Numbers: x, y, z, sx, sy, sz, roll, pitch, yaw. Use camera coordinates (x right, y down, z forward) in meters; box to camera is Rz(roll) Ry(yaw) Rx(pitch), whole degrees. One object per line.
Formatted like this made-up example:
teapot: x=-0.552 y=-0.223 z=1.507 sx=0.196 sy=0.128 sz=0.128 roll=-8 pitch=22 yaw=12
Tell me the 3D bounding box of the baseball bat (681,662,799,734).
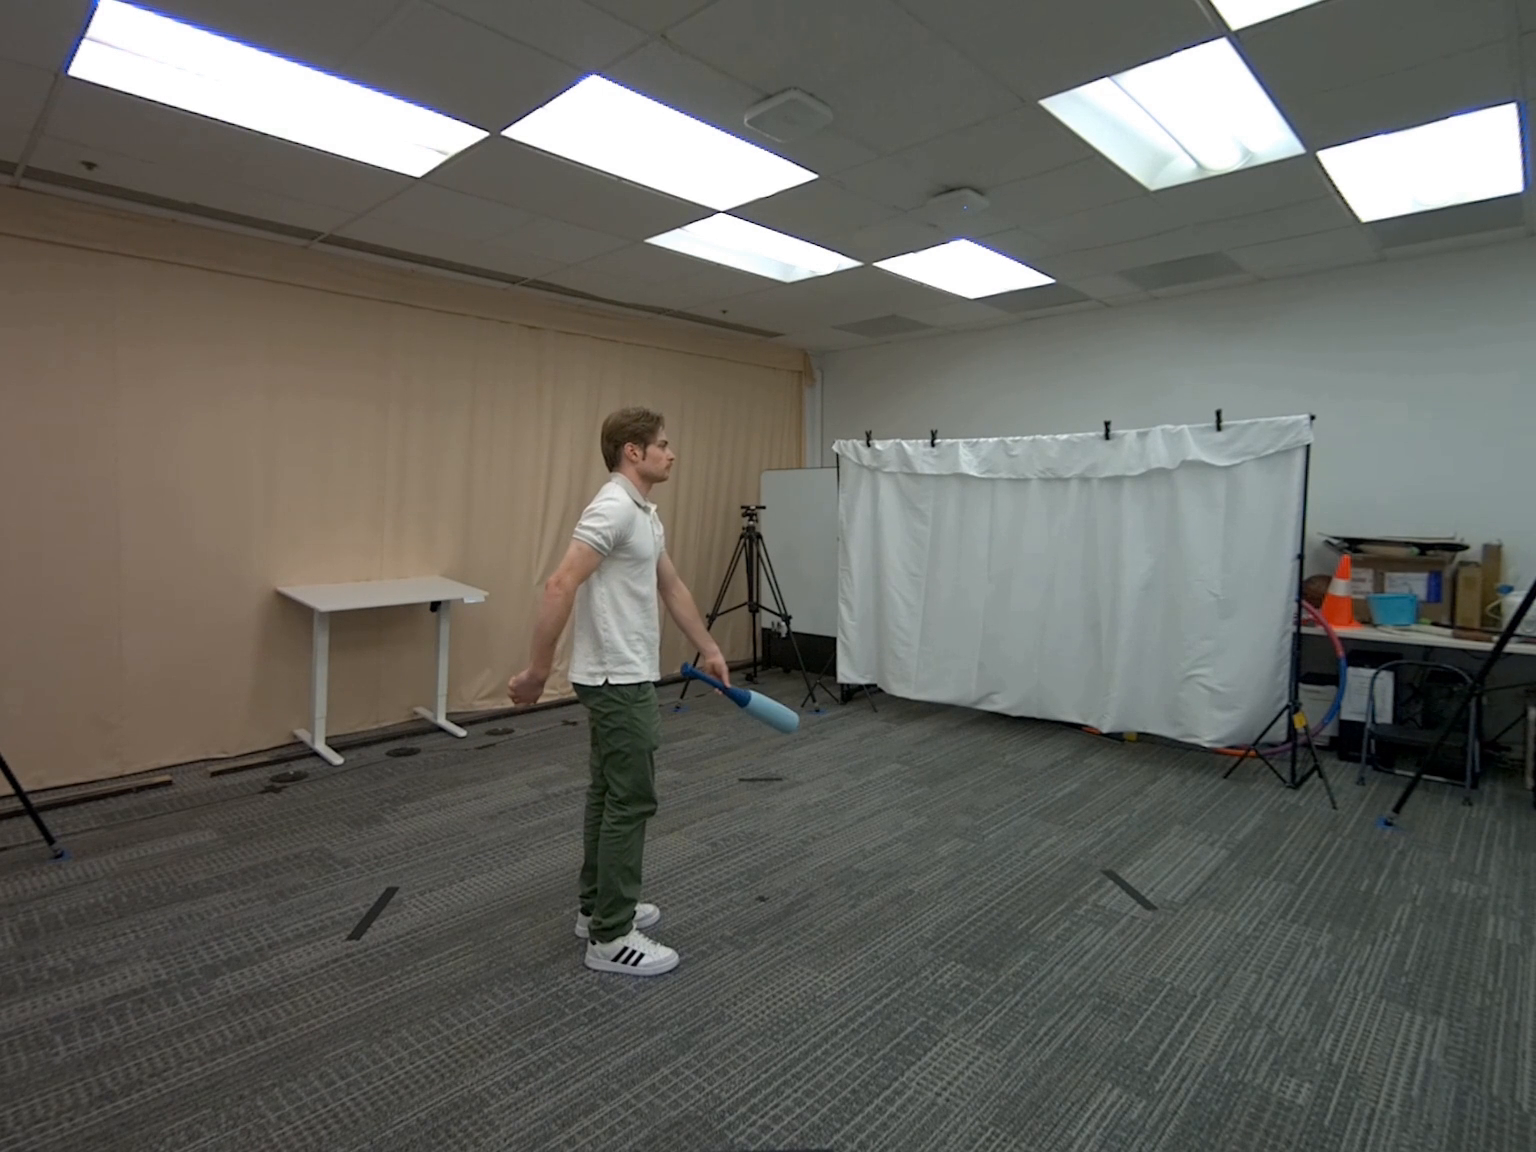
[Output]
baseball bat: x=-0.120 y=0.428 z=2.931 sx=0.525 sy=0.089 sz=0.092 roll=32 pitch=-15 yaw=-32
